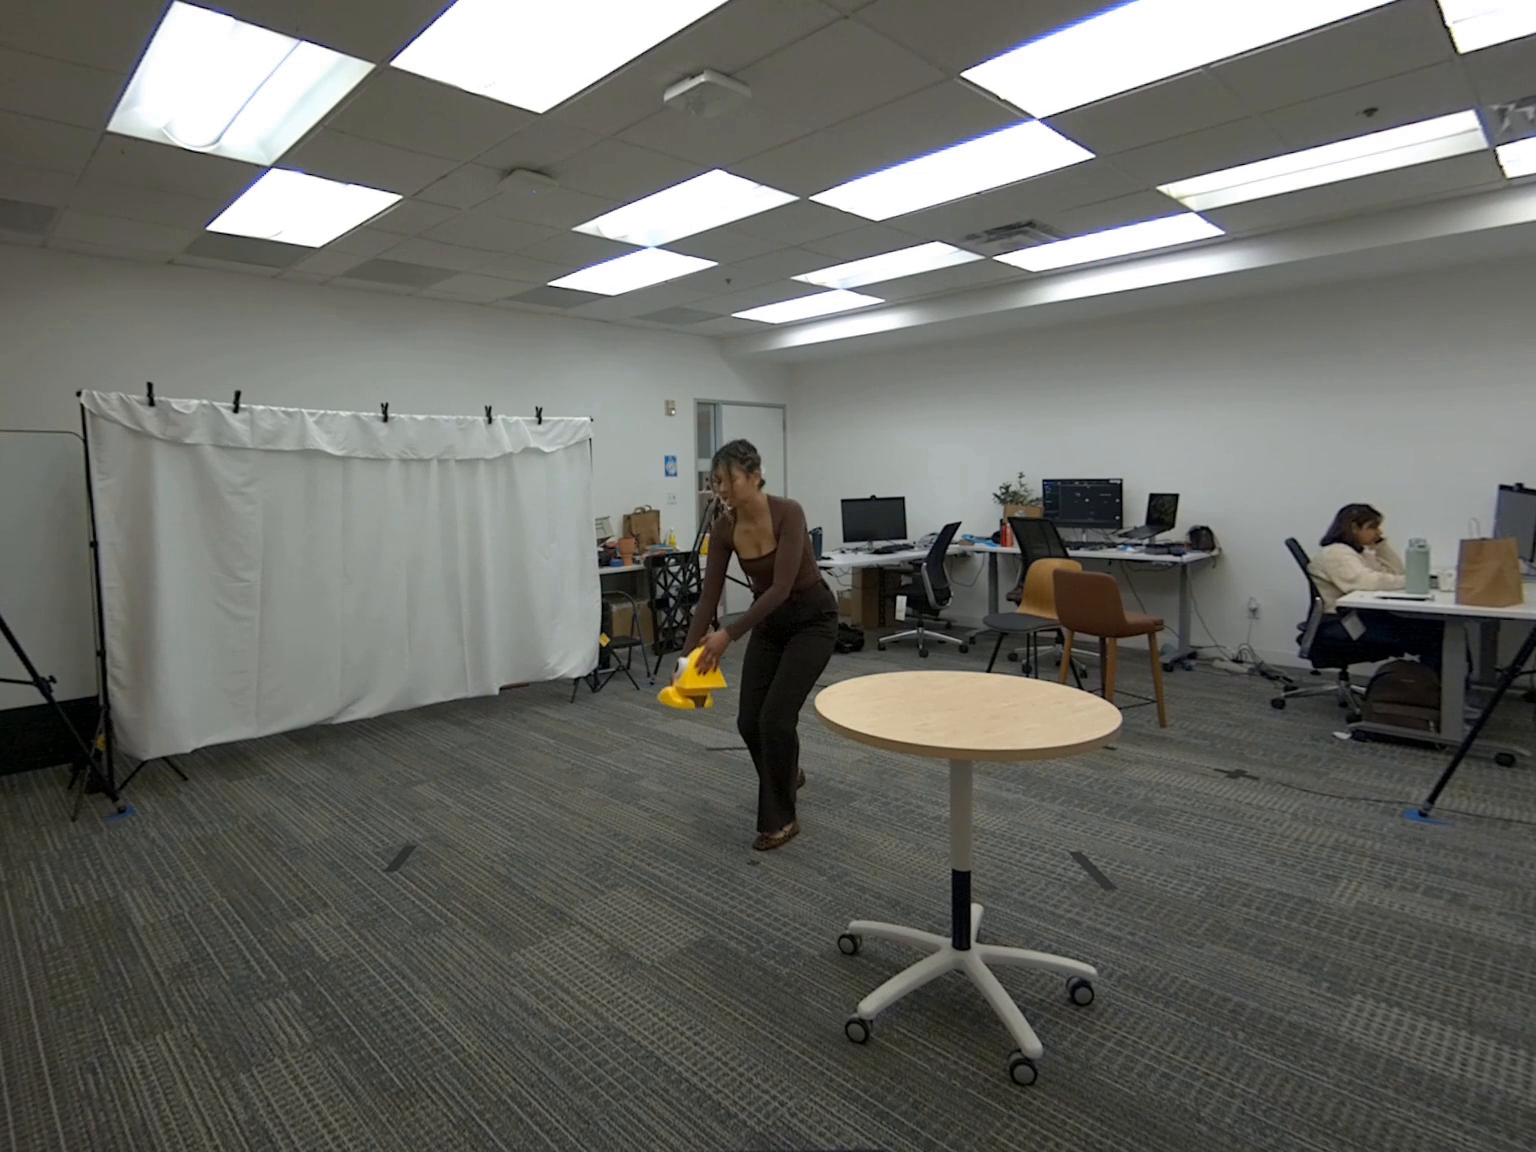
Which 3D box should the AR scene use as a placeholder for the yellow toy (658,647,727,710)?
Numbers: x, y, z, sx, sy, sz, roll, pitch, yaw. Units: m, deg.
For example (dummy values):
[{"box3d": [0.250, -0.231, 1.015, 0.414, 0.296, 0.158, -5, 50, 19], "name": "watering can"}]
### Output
[{"box3d": [-0.281, 0.350, 3.120, 0.198, 0.230, 0.199, 6, 3, -45], "name": "yellow toy"}]
